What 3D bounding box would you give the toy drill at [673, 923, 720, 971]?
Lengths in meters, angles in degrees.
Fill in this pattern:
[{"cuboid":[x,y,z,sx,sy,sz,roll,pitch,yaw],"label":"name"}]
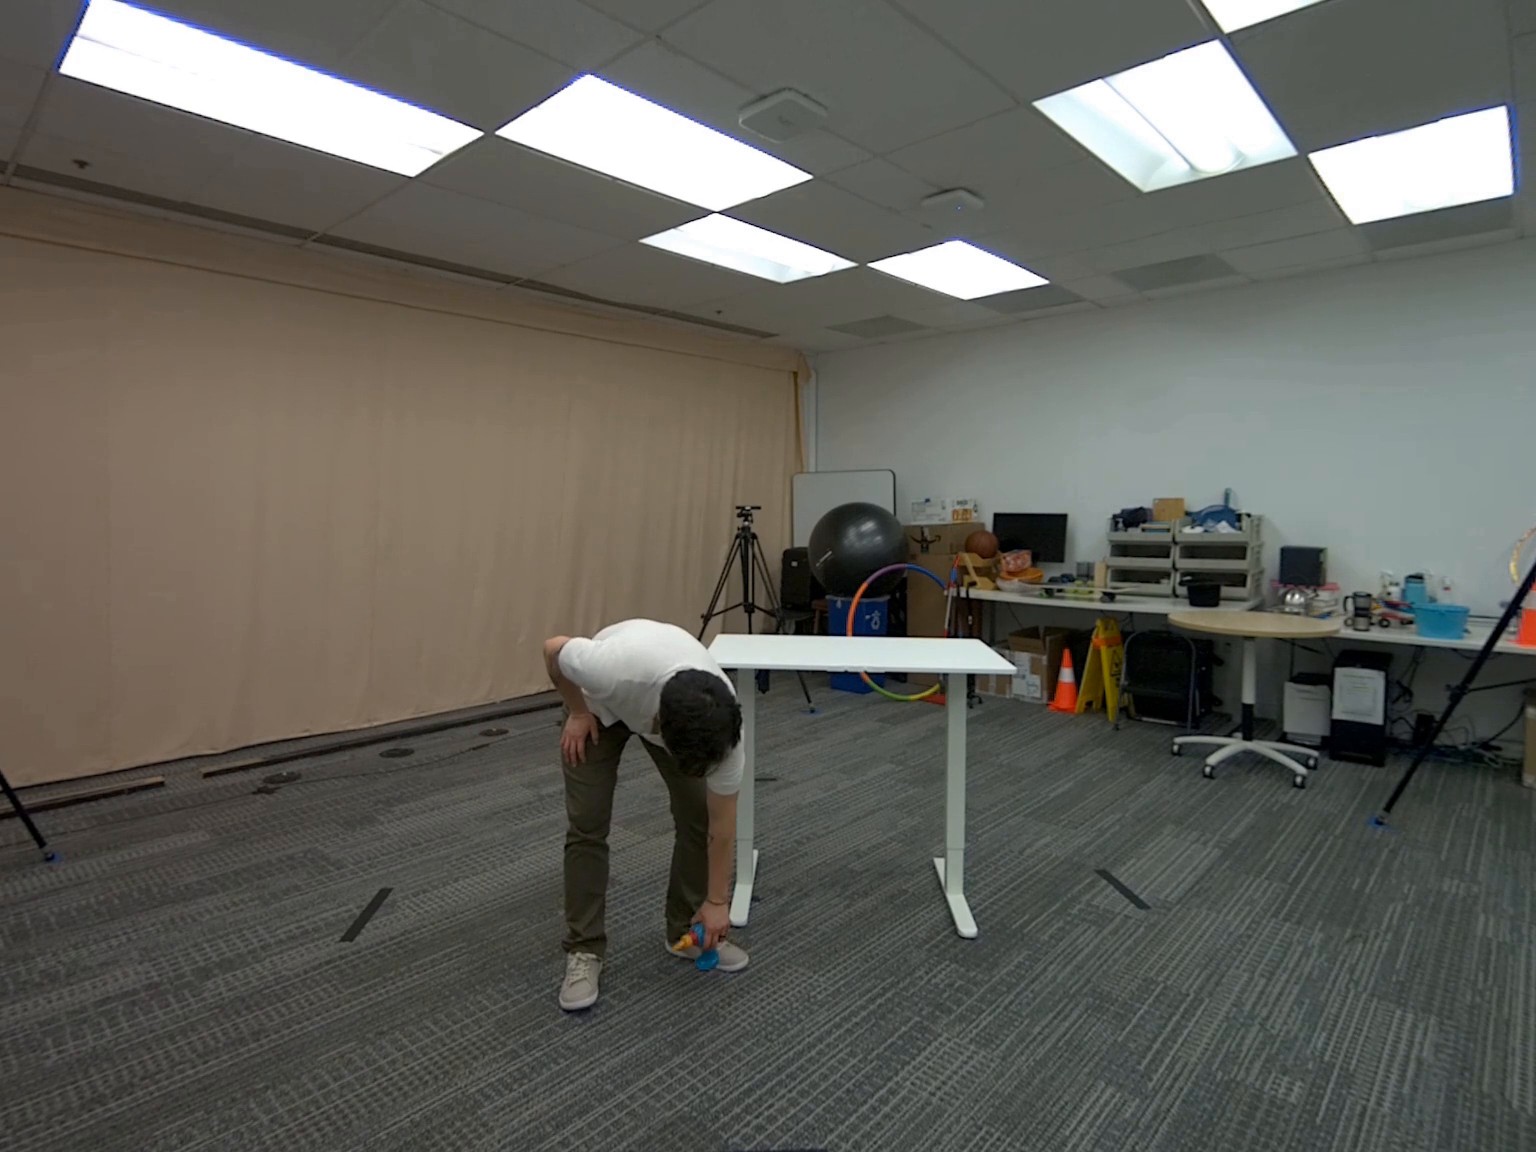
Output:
[{"cuboid":[-0.202,1.061,2.387,0.166,0.144,0.063,-16,21,-28],"label":"toy drill"}]
